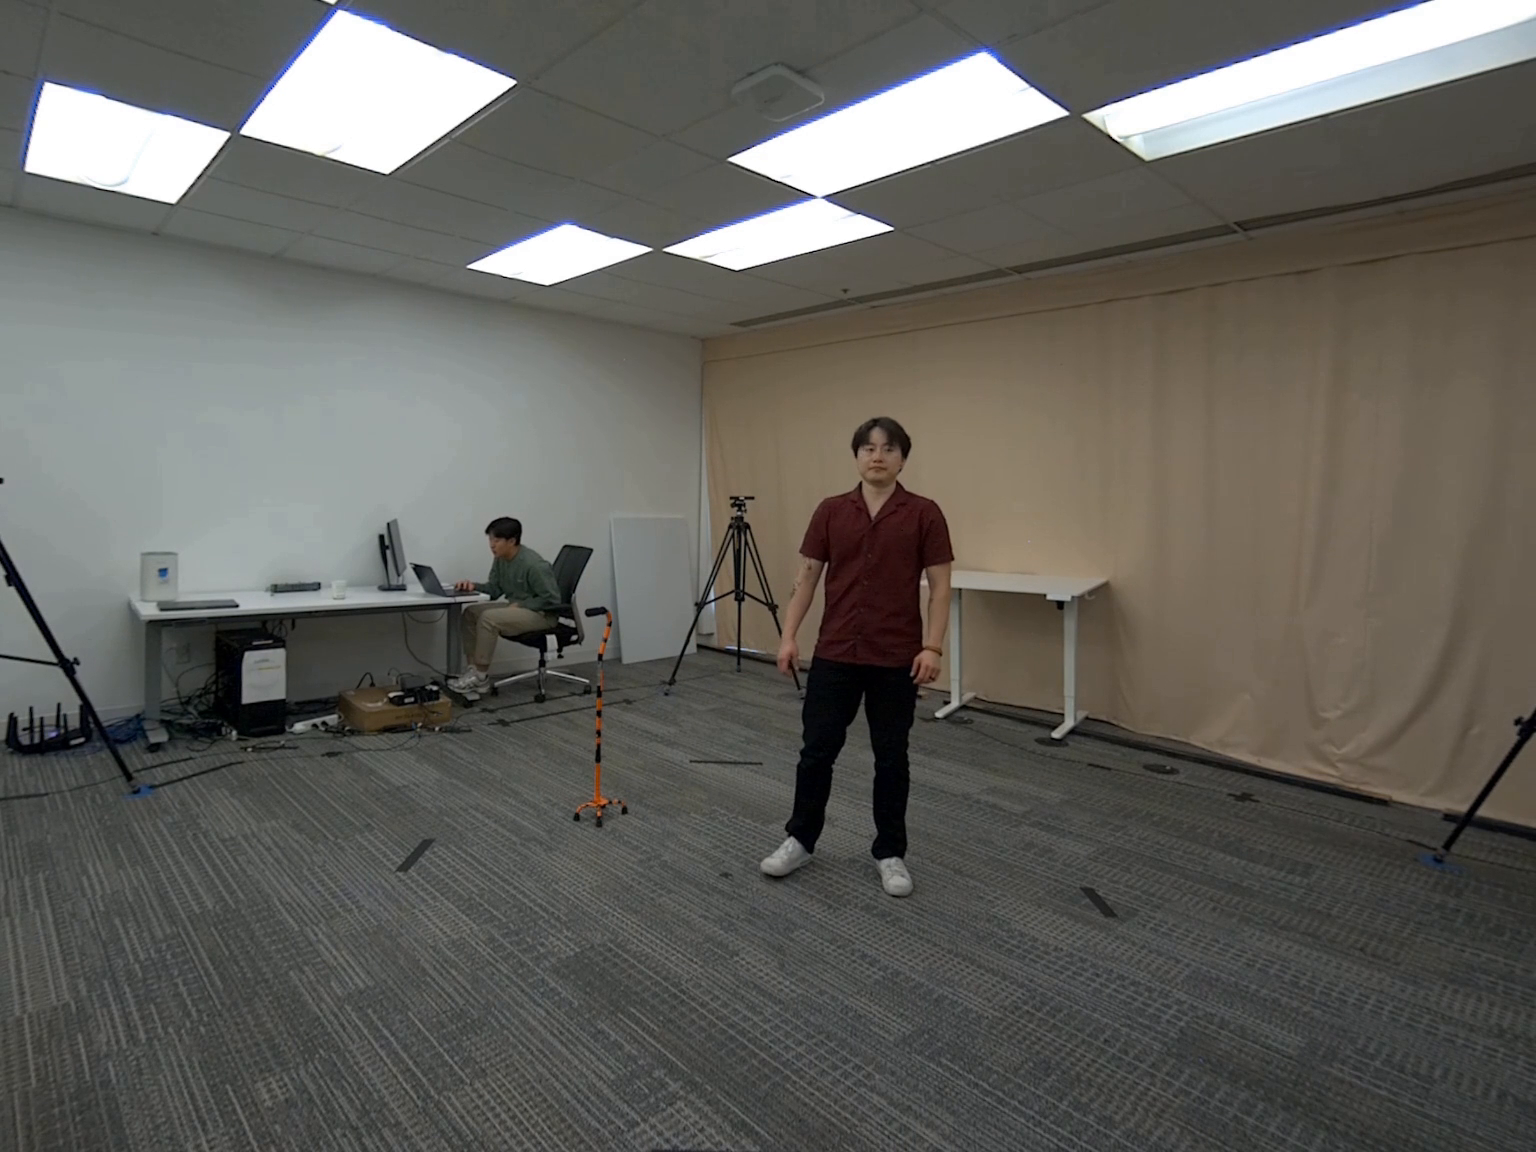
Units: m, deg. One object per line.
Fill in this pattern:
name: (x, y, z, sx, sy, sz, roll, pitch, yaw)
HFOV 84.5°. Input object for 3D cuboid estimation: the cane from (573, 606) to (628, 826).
cane: (-0.718, 0.592, 3.629, 0.155, 0.907, 0.202, 2, 2, 28)
